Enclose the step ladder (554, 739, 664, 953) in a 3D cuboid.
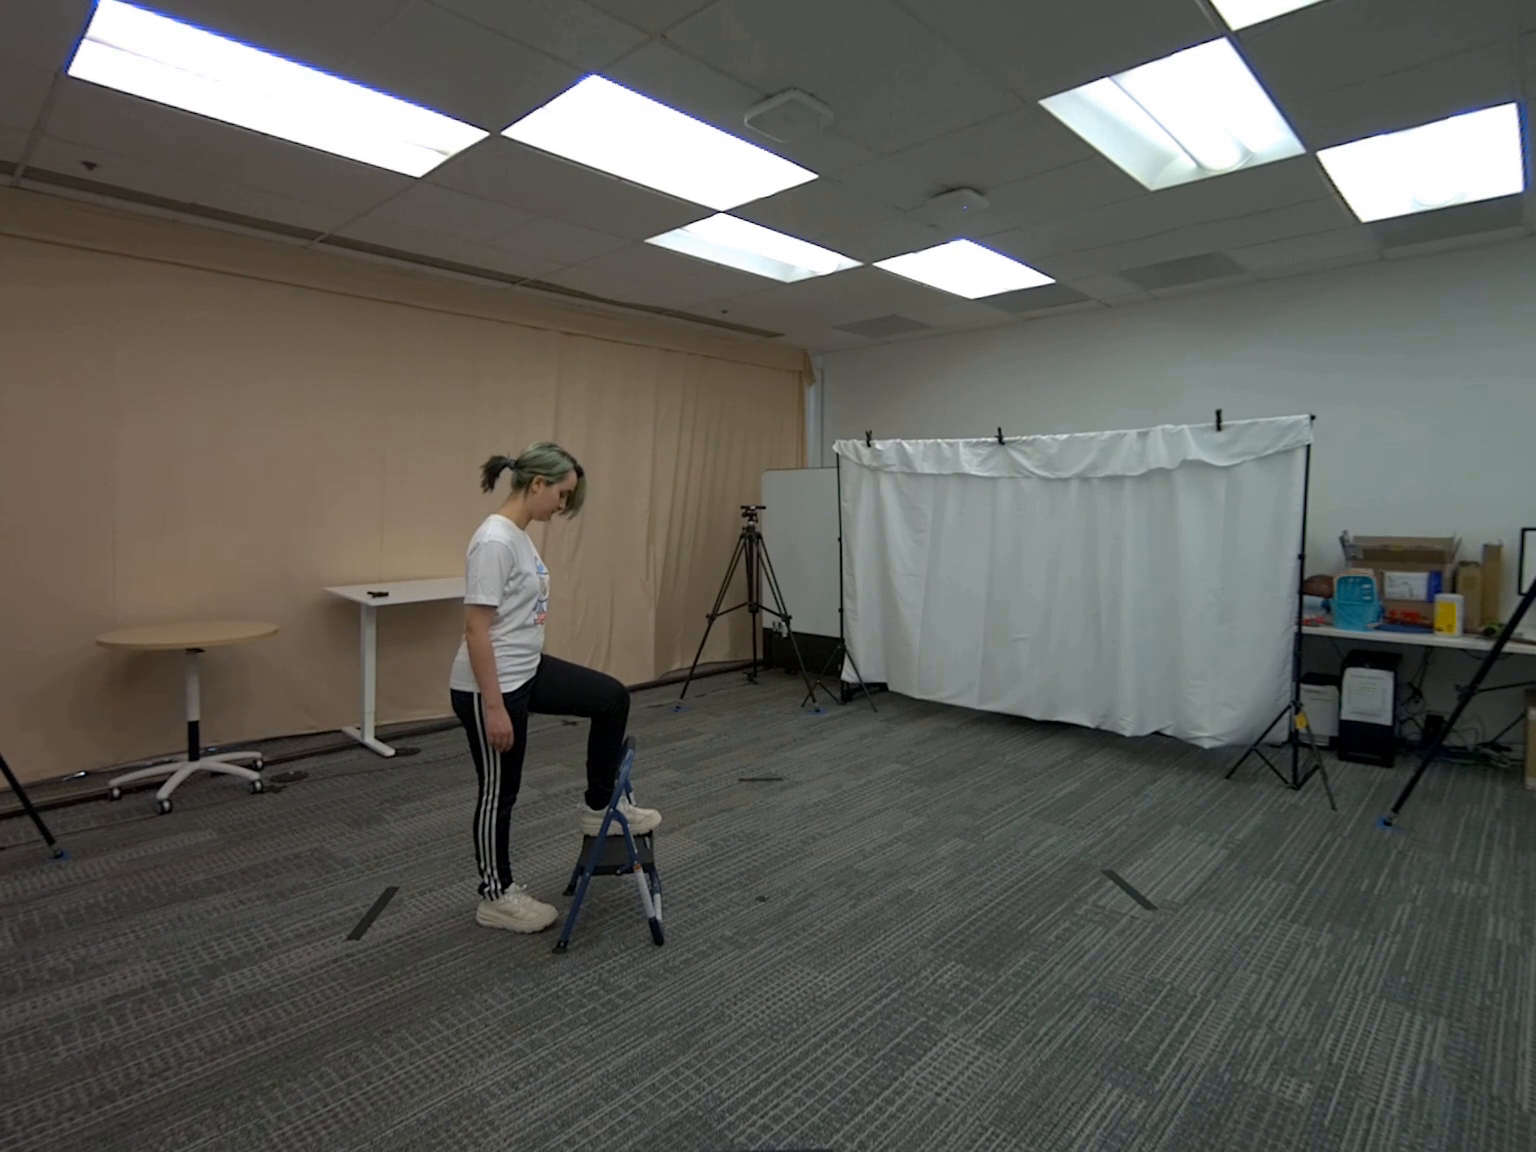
[{"bbox_3d":[-0.533,0.865,2.834,0.346,0.605,0.435,-1,3,-8],"label":"step ladder"}]
